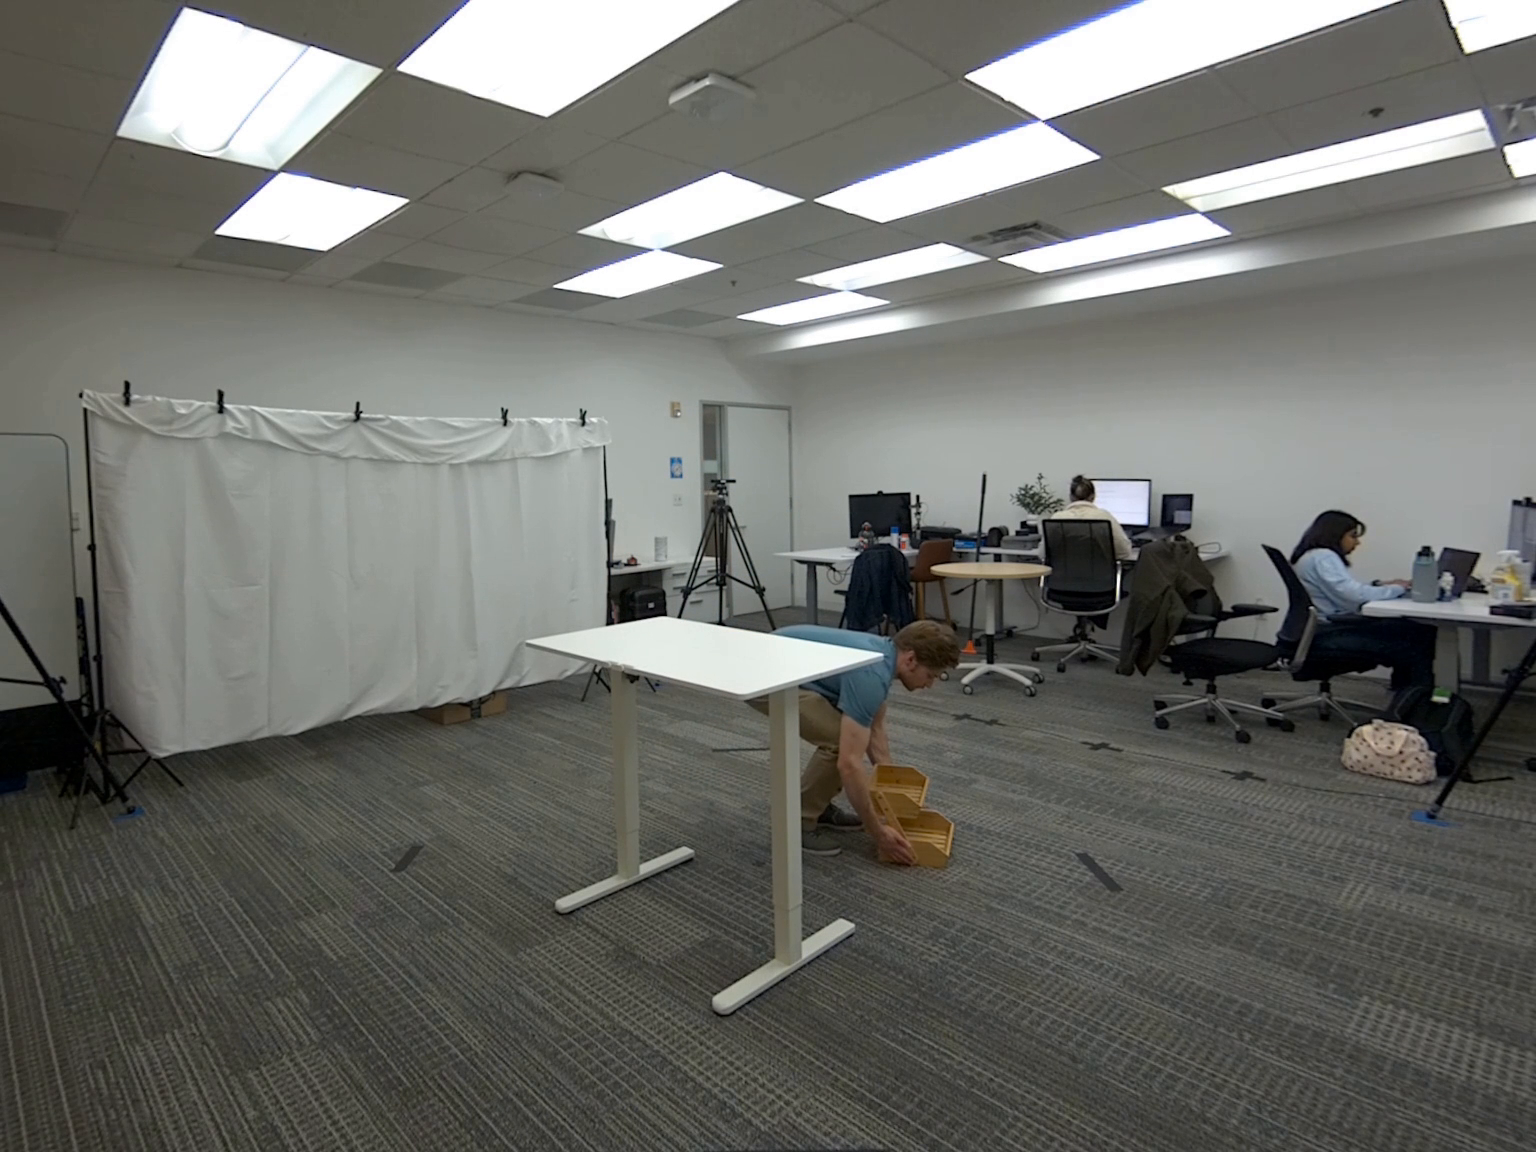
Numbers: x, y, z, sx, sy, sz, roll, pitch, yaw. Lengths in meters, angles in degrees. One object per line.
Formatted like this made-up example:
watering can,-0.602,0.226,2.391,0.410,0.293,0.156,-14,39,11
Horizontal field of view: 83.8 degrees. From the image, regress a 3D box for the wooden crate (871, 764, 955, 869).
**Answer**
wooden crate,0.539,0.890,3.220,0.307,0.273,0.320,0,4,18
